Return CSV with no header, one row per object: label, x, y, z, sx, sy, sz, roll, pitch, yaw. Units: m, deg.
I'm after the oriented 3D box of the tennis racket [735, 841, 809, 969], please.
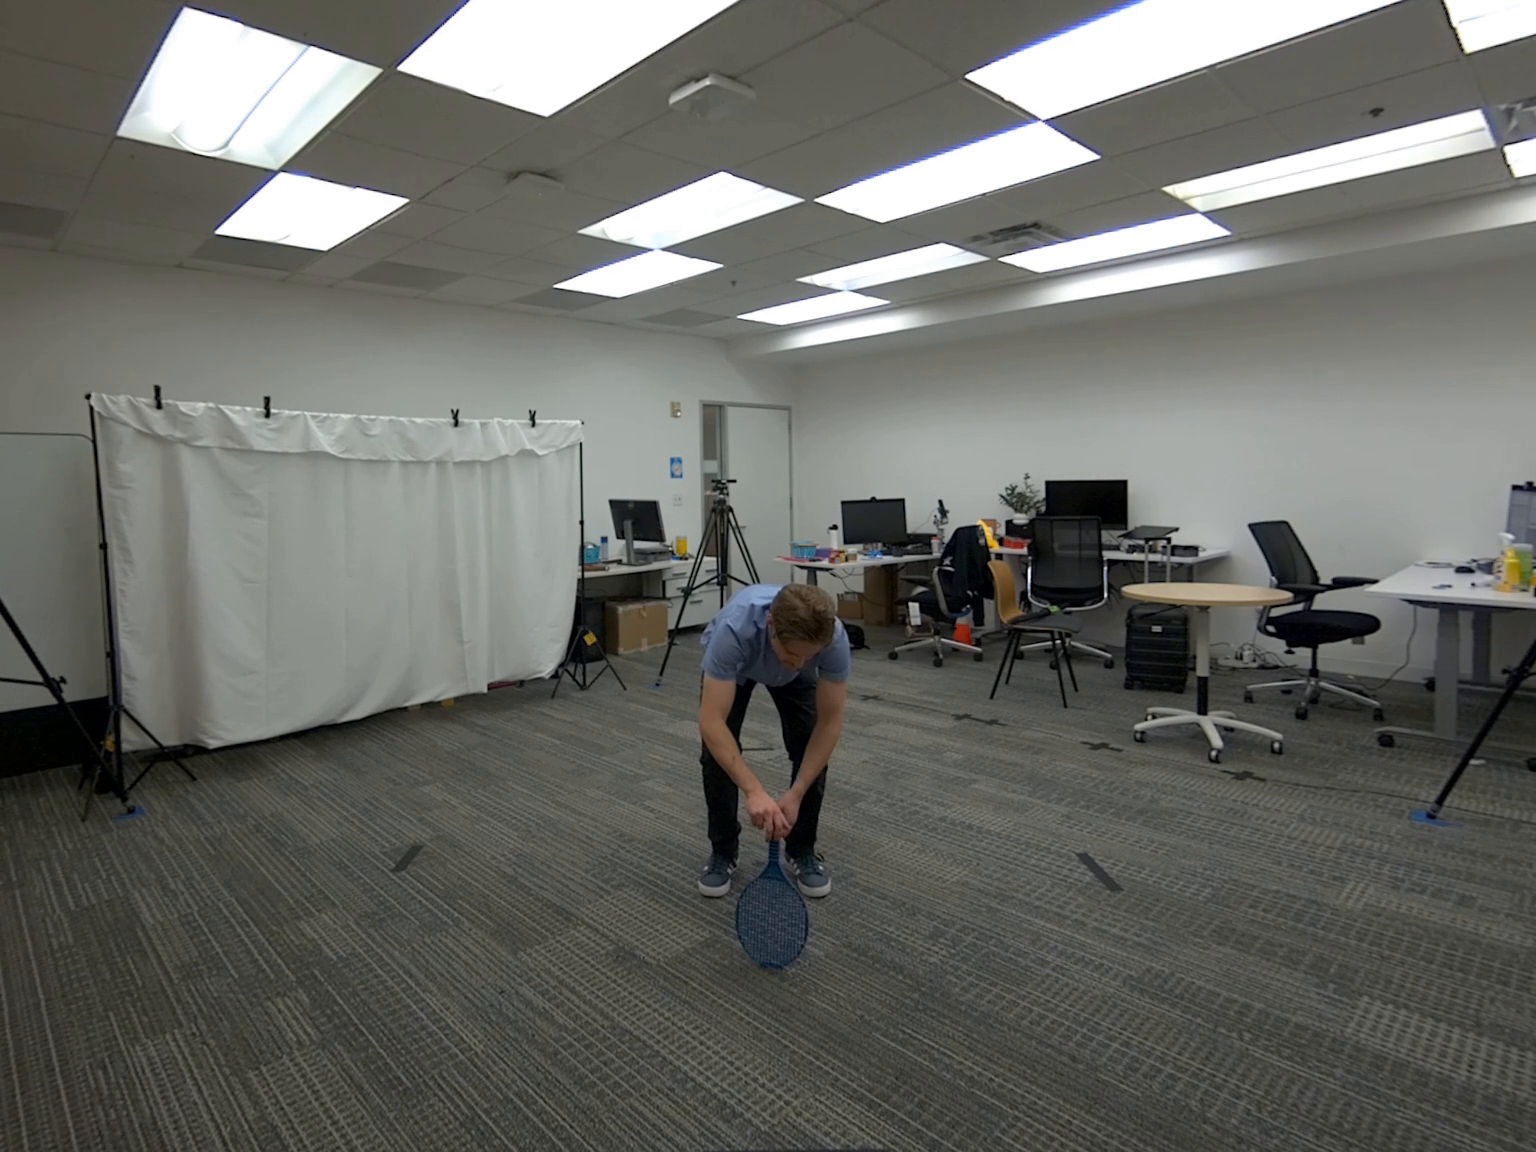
tennis racket,0.018,0.916,2.441,0.217,0.432,0.031,3,3,14
